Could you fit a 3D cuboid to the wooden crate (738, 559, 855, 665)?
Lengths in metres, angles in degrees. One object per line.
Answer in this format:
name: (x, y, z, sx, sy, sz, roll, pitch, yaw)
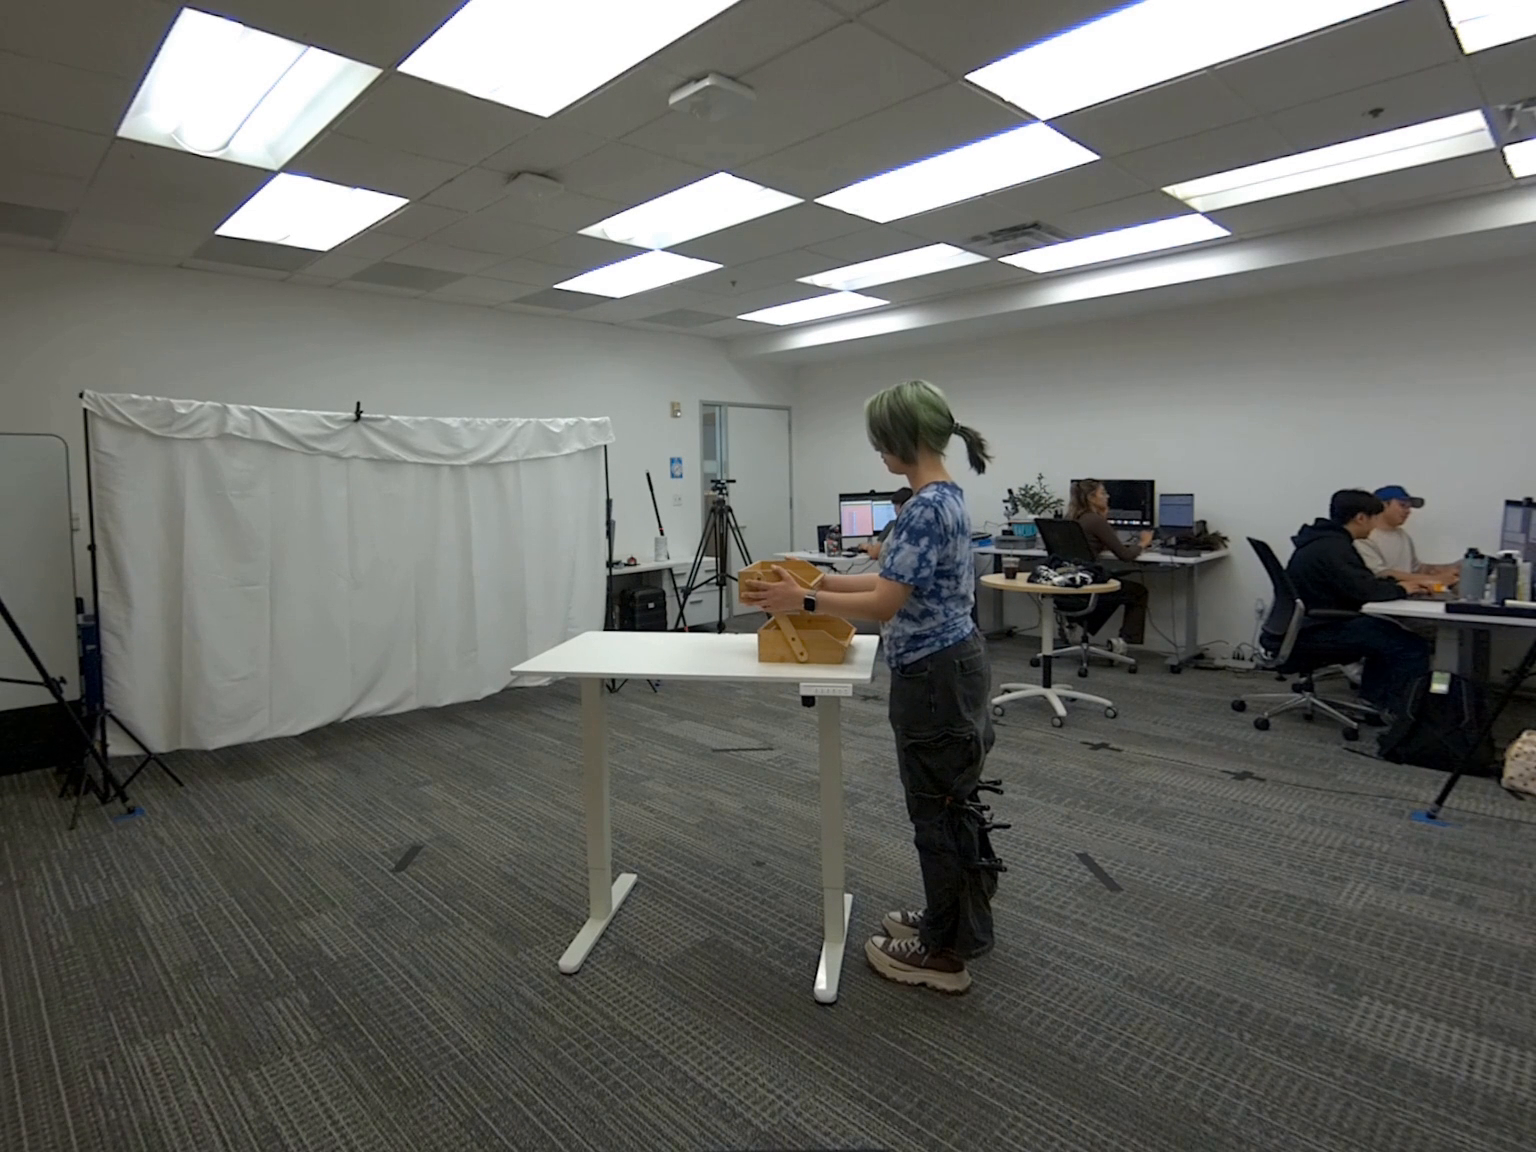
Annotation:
wooden crate: (0.101, 0.092, 2.511, 0.306, 0.272, 0.322, -3, 5, 12)
